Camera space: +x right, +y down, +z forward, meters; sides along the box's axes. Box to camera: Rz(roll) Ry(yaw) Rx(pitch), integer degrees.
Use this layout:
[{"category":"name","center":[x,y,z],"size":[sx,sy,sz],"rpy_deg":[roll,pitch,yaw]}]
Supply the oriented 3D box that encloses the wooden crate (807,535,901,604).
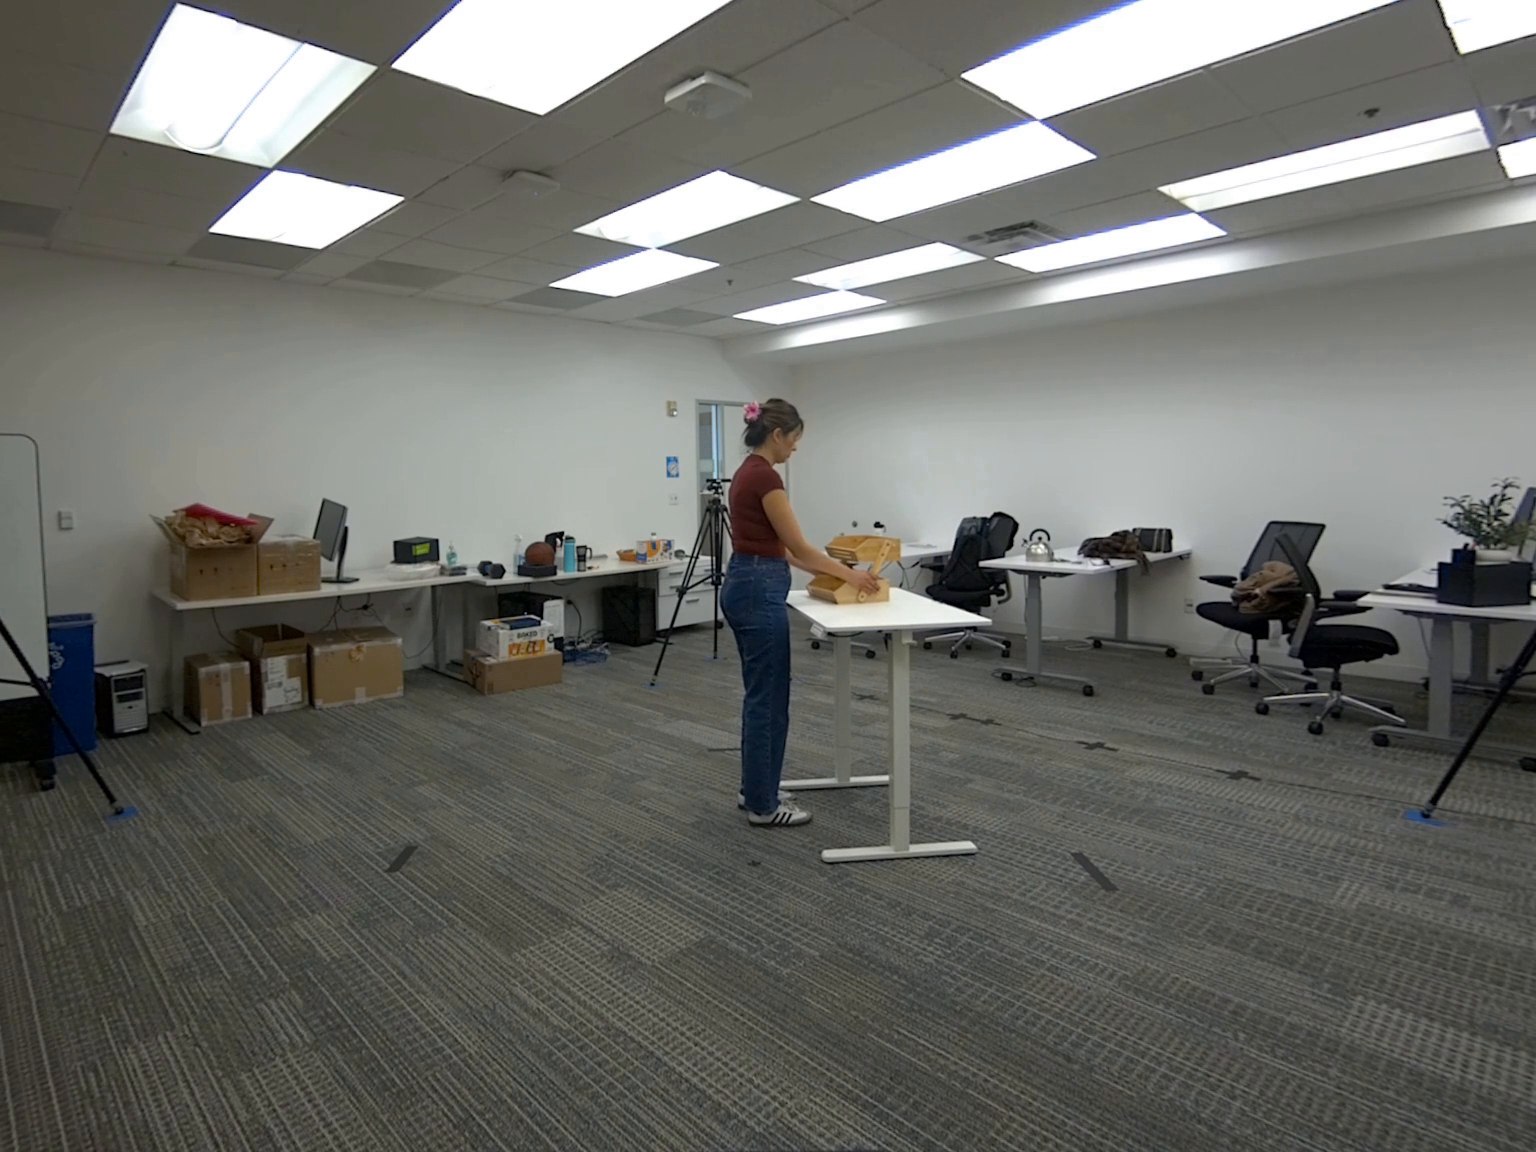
[{"category":"wooden crate","center":[0.349,-0.037,3.643],"size":[0.297,0.272,0.331],"rpy_deg":[-2,5,-18]}]
